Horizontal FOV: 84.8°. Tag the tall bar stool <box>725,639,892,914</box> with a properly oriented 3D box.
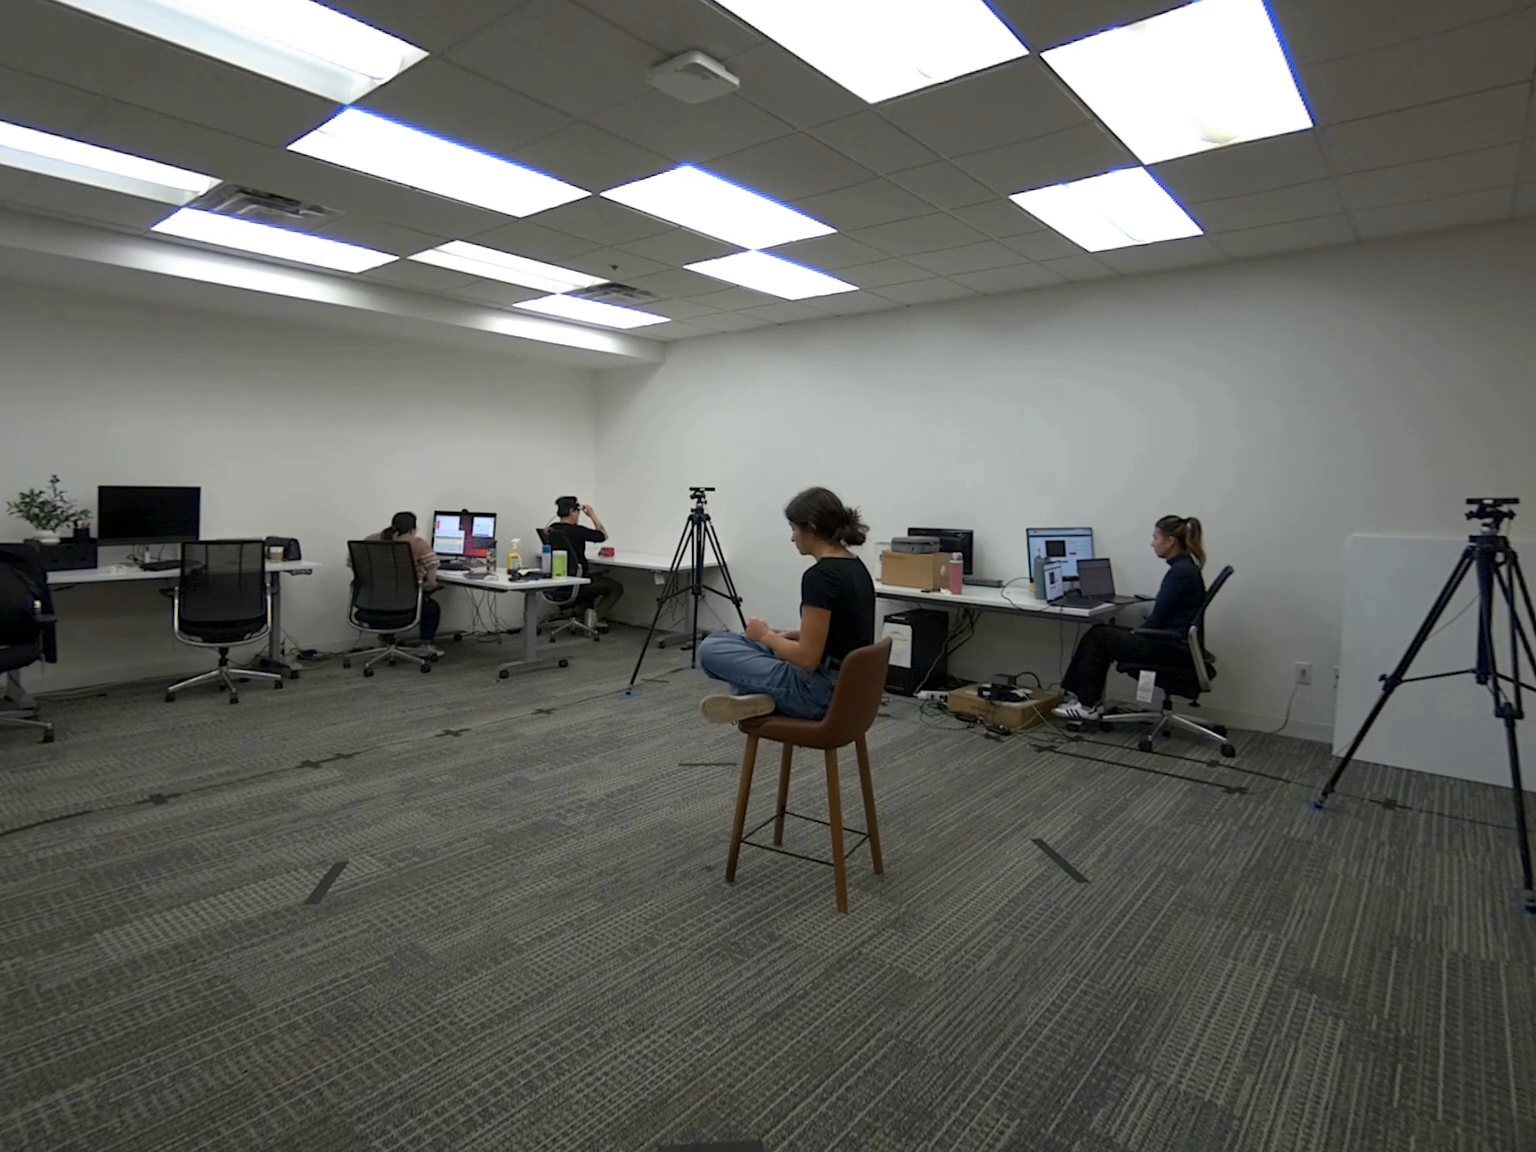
[{"bbox_3d":[0.152,0.647,3.042,0.482,0.886,0.445,5,5,30],"label":"tall bar stool"}]
